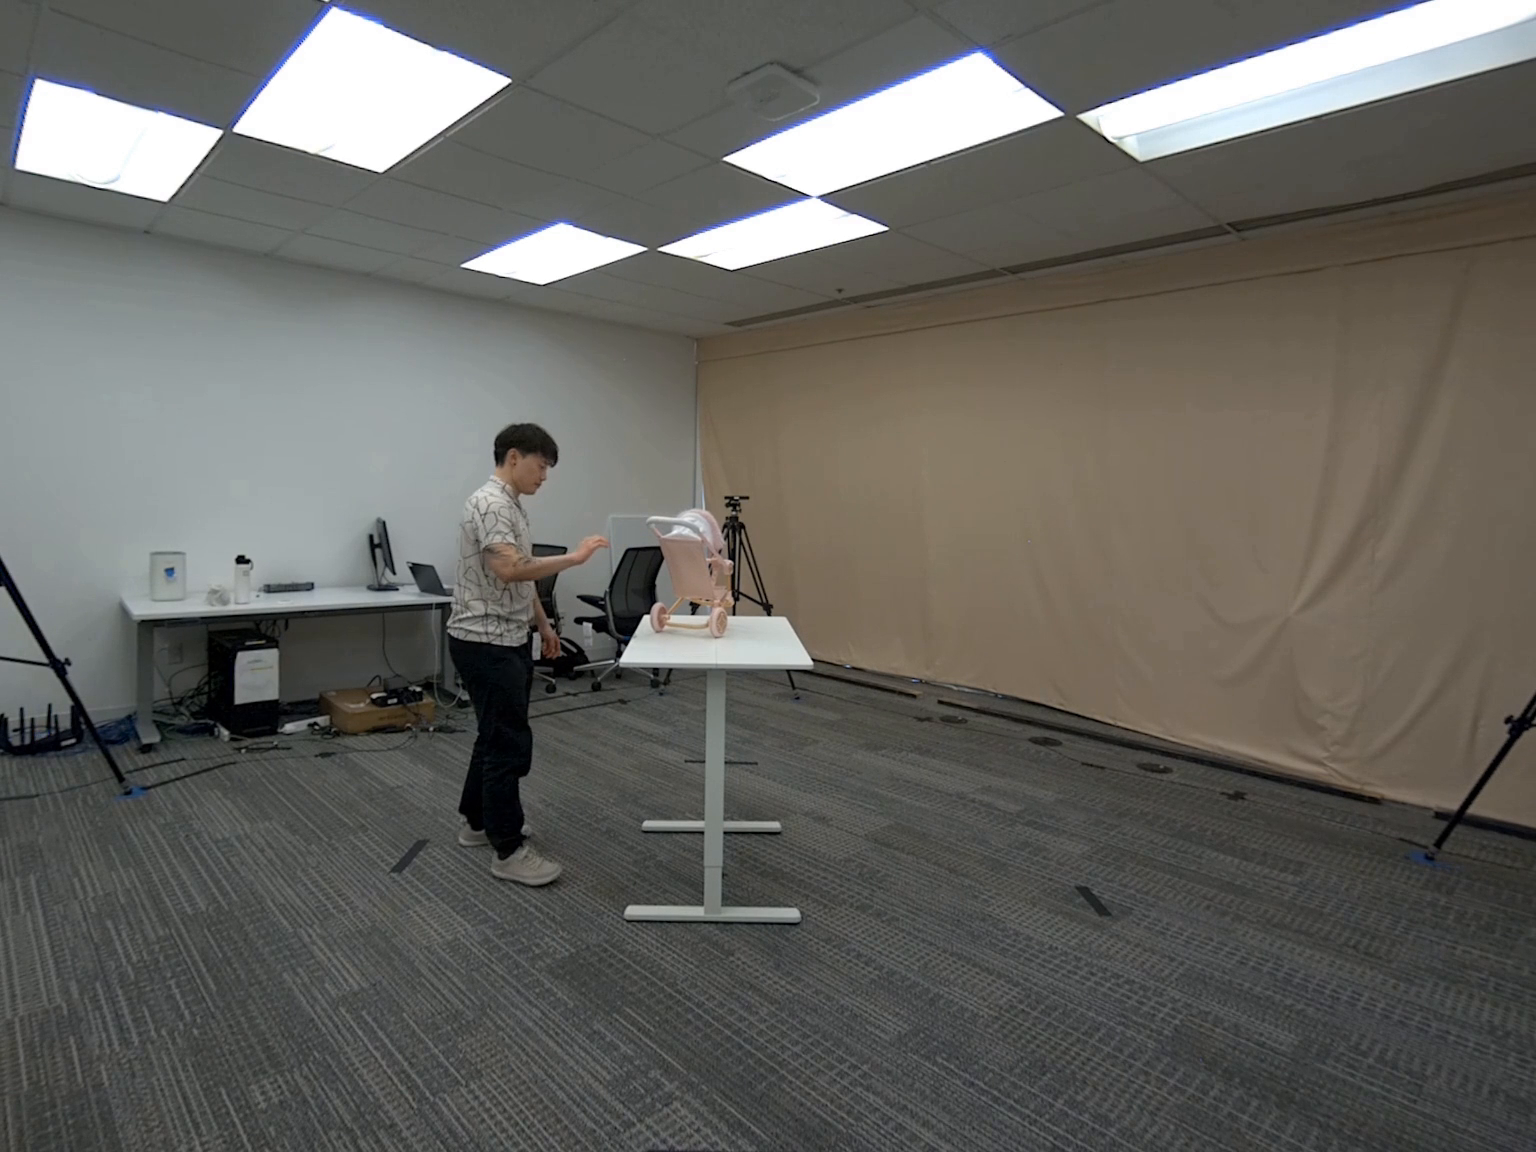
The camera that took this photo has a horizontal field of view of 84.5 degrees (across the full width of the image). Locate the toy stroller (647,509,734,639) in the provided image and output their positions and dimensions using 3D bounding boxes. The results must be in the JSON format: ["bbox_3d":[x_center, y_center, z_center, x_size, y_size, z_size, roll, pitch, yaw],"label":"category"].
[{"bbox_3d":[-0.274,-0.011,3.156,0.287,0.527,0.339,4,20,28],"label":"toy stroller"}]
